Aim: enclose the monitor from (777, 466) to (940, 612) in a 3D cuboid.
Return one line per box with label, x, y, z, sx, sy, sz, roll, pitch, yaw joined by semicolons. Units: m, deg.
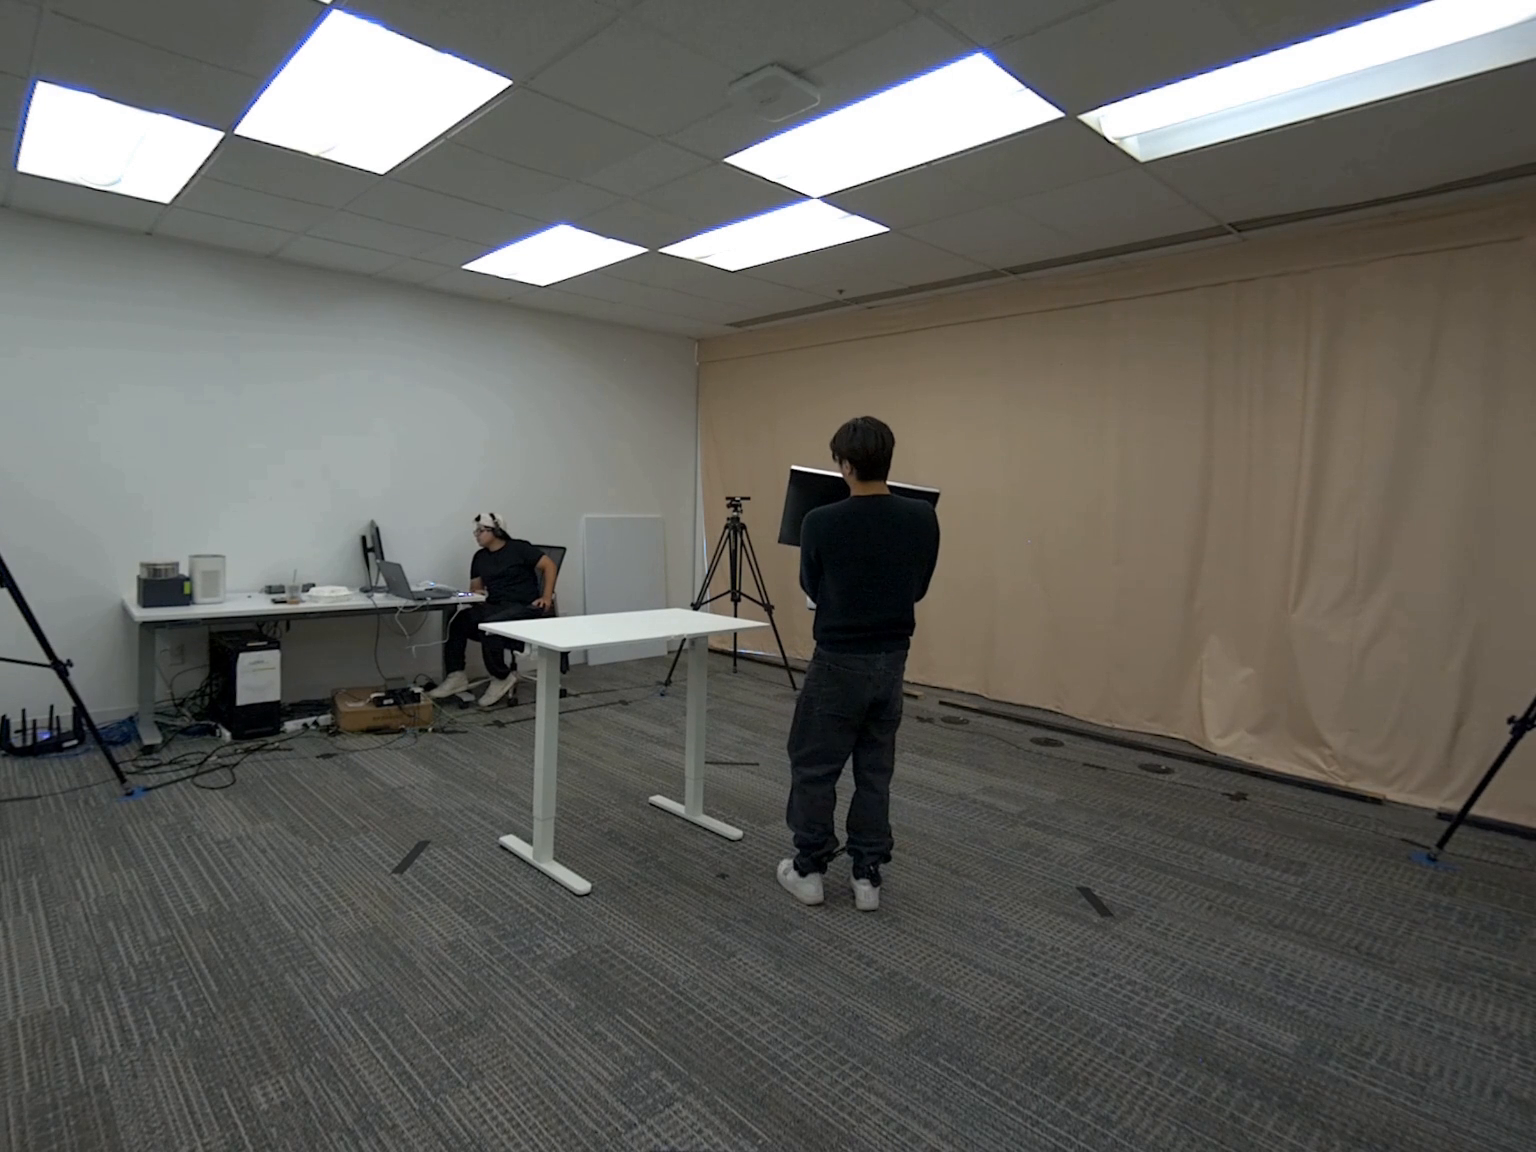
monitor;0.304;-0.118;3.214;0.539;0.515;0.190;9;28;-1
